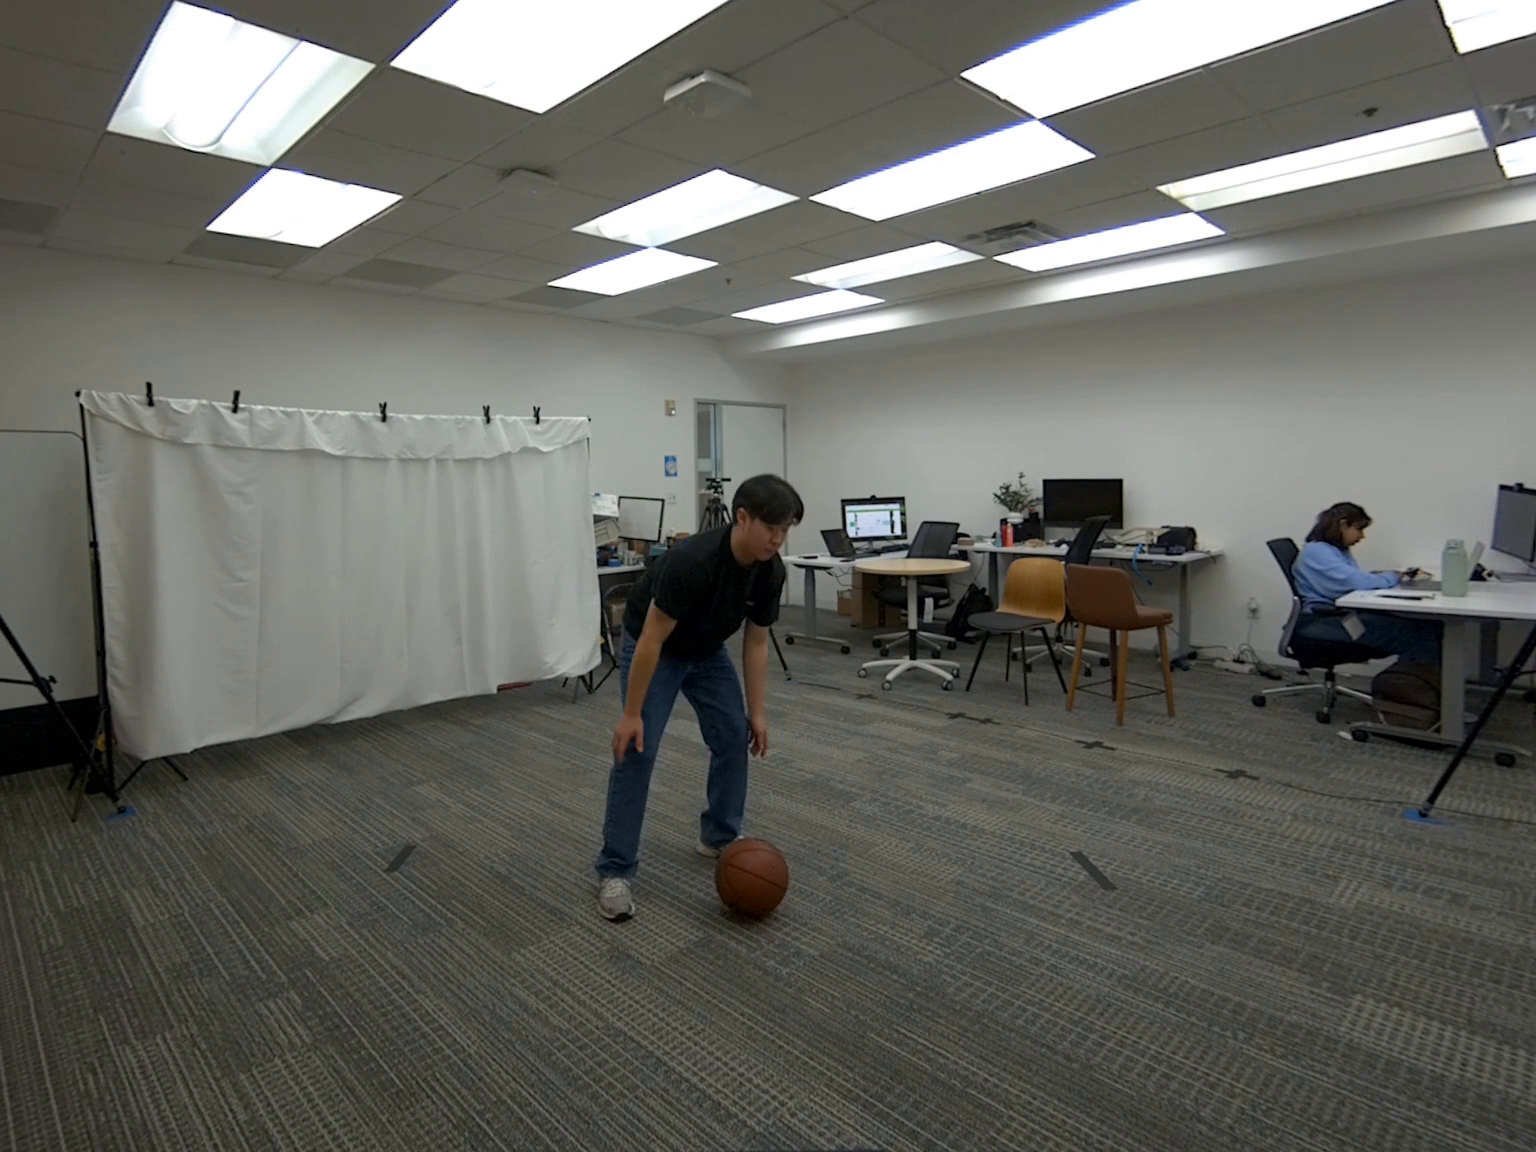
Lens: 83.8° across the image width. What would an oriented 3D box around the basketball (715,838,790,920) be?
[{"bbox_3d":[-0.047,0.963,2.744,0.236,0.235,0.237,-1,5,-2],"label":"basketball"}]
